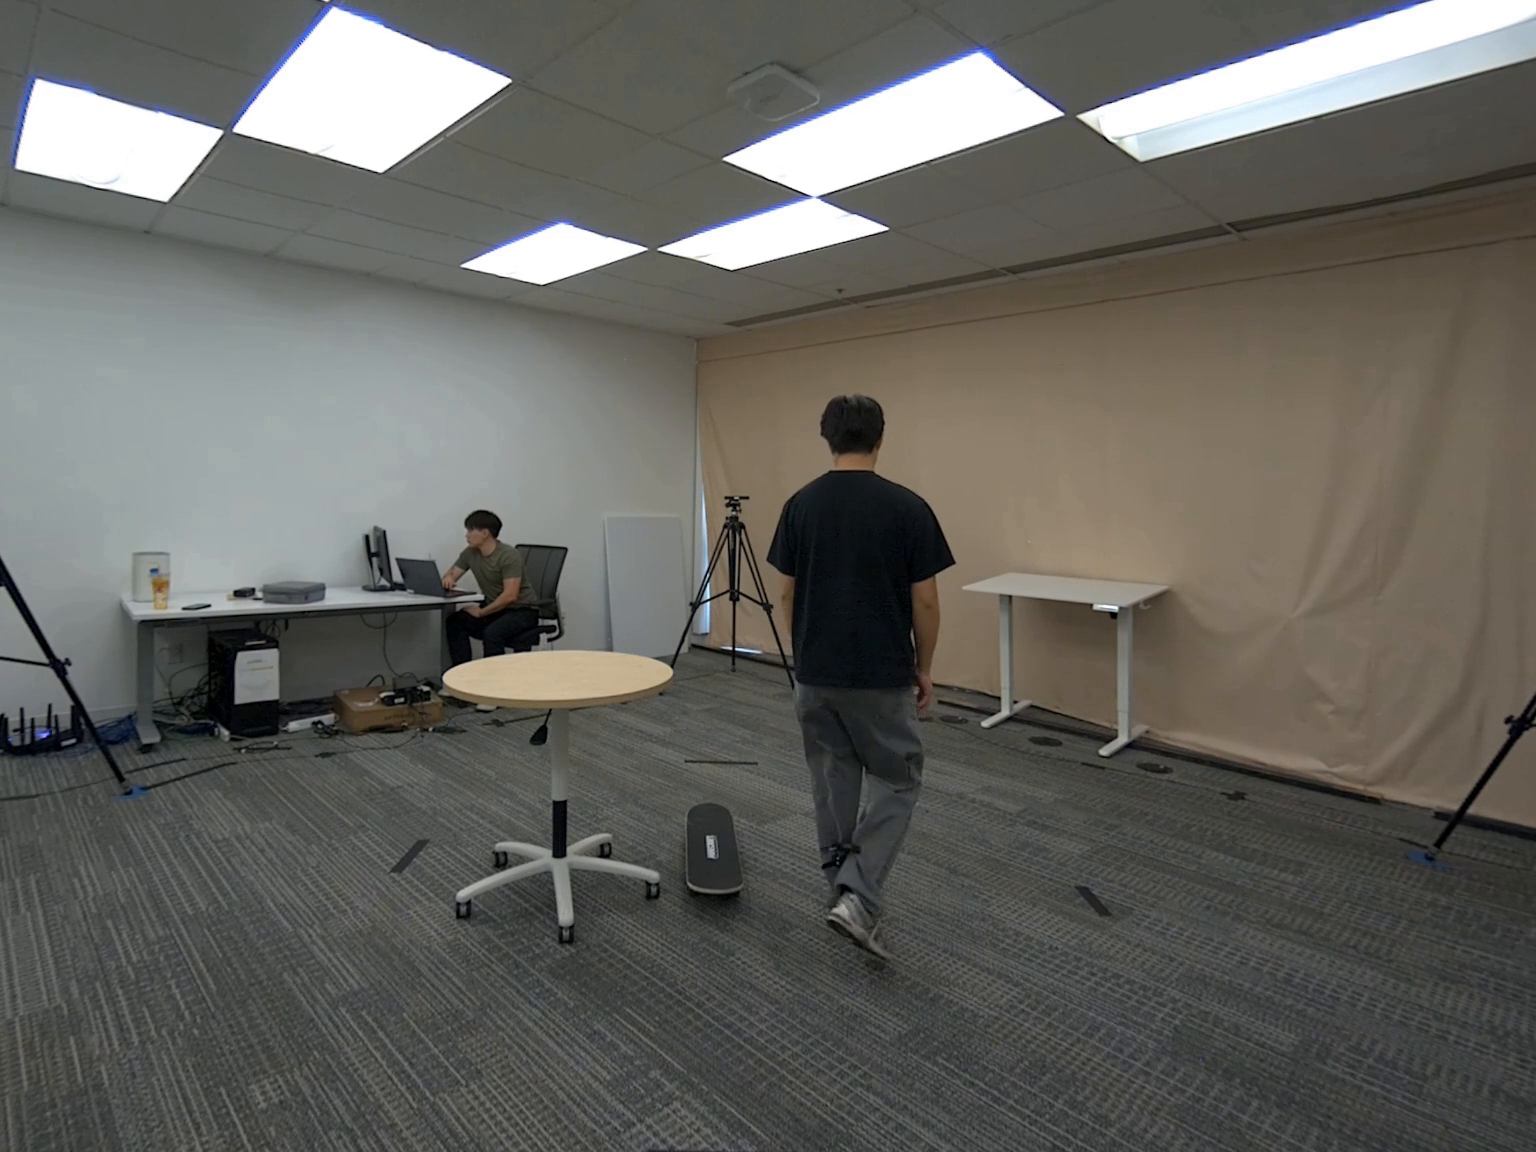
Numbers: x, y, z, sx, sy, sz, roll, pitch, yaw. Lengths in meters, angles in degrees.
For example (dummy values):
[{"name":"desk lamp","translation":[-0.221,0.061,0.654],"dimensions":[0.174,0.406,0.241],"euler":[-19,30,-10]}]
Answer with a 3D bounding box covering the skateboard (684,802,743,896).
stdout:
[{"name":"skateboard","translation":[-0.220,1.043,3.145],"dimensions":[0.193,0.110,0.791],"euler":[1,6,-6]}]
